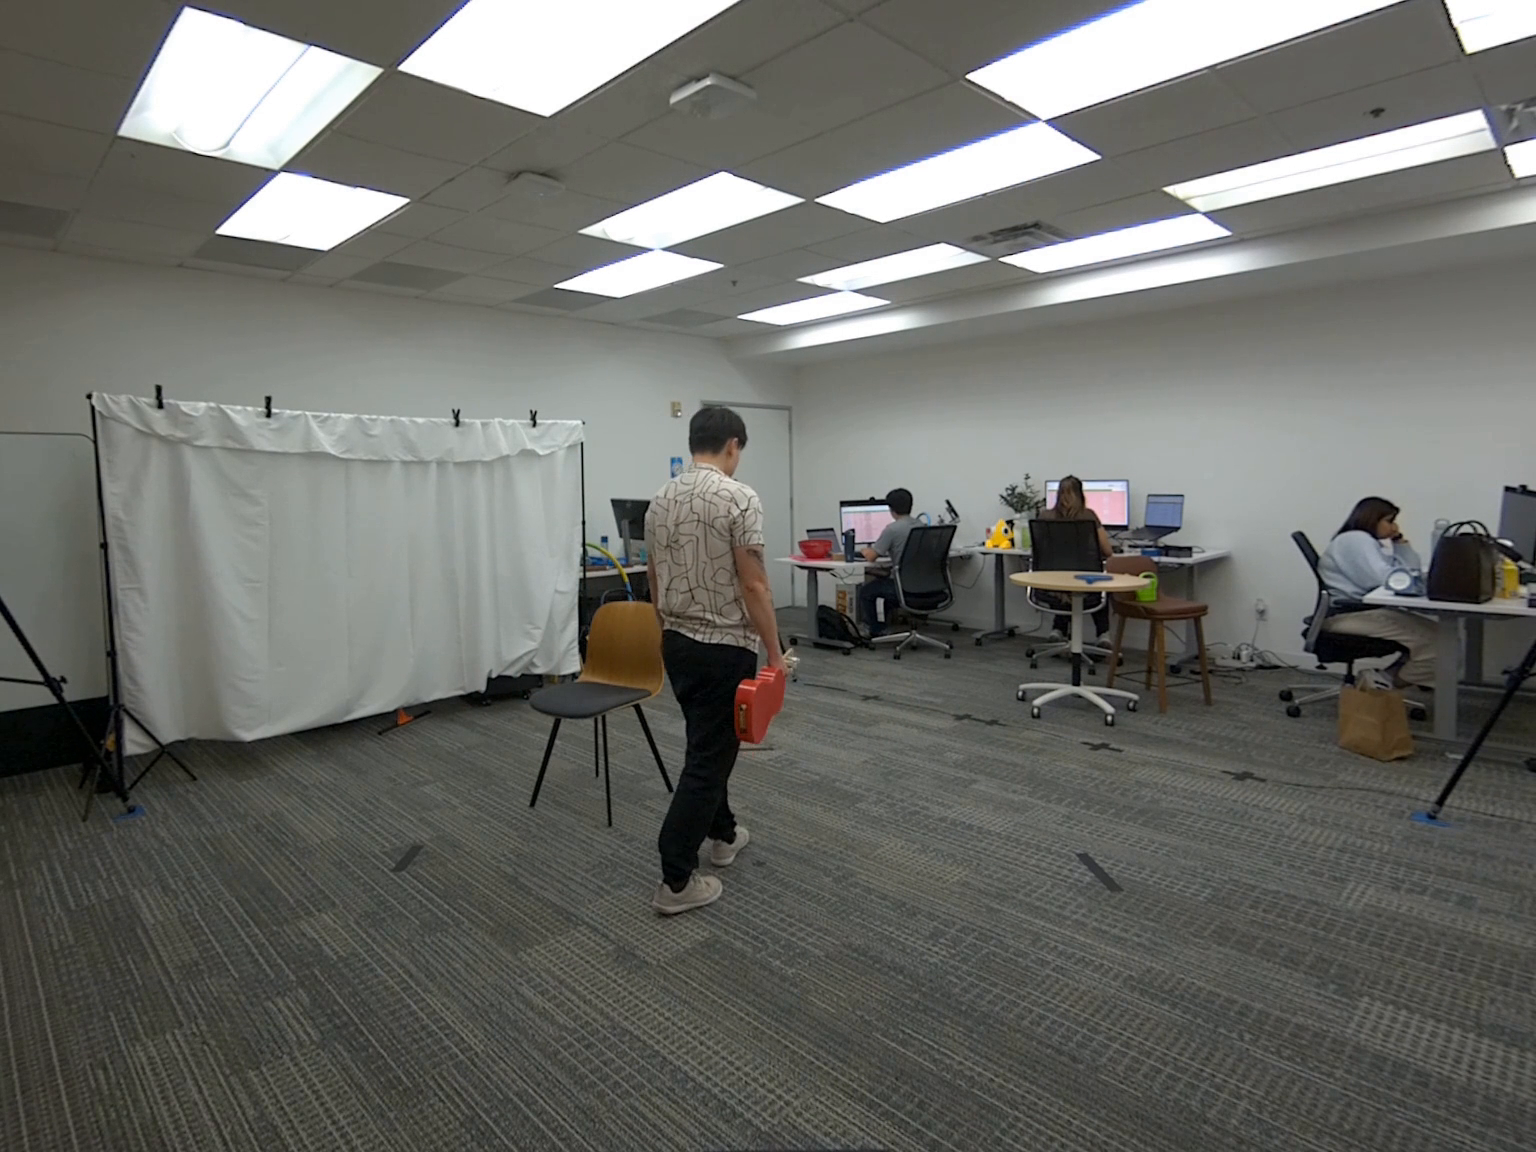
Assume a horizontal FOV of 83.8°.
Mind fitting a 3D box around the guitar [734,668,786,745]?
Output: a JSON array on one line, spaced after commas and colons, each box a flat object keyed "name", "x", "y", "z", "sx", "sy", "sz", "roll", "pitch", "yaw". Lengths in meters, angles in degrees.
[{"name": "guitar", "x": 0.015, "y": 0.331, "z": 2.745, "sx": 0.072, "sy": 0.188, "sz": 0.498, "roll": 3, "pitch": 28, "yaw": 22}]
